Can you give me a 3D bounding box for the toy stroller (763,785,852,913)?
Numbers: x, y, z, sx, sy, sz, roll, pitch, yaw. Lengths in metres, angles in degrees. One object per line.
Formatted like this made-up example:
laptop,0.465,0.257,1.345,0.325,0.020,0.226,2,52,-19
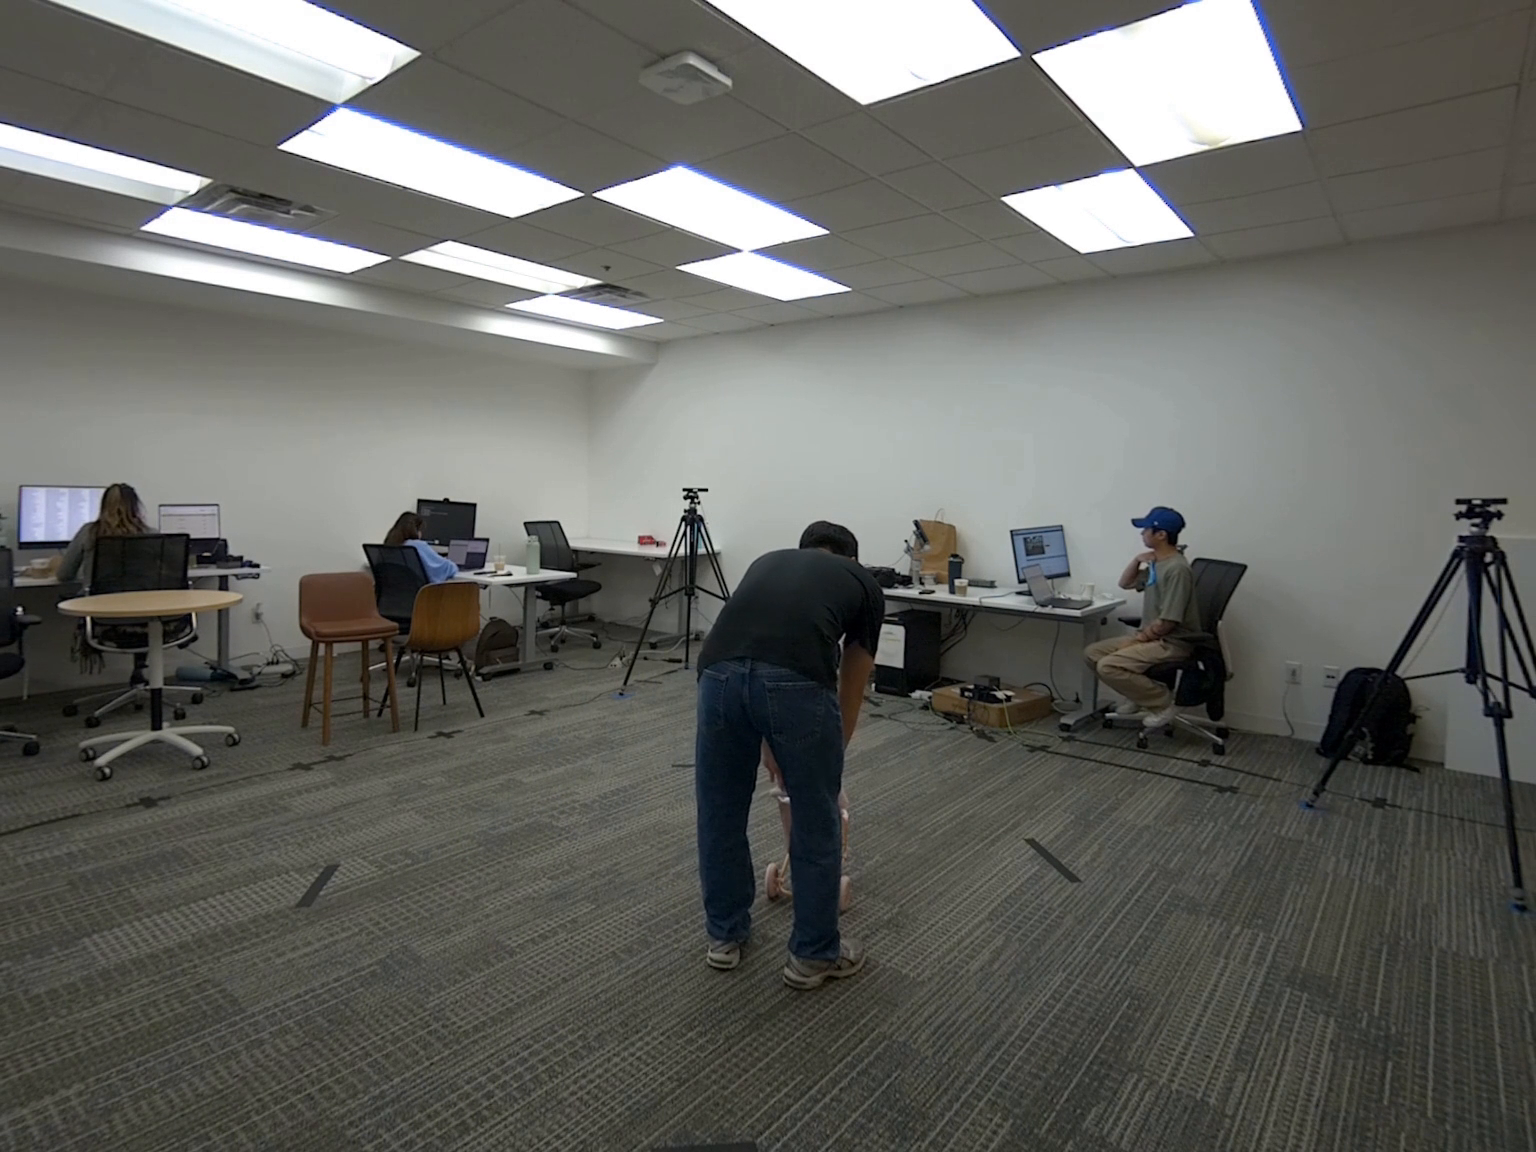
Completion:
toy stroller,0.153,0.870,2.919,0.288,0.525,0.339,4,20,22
